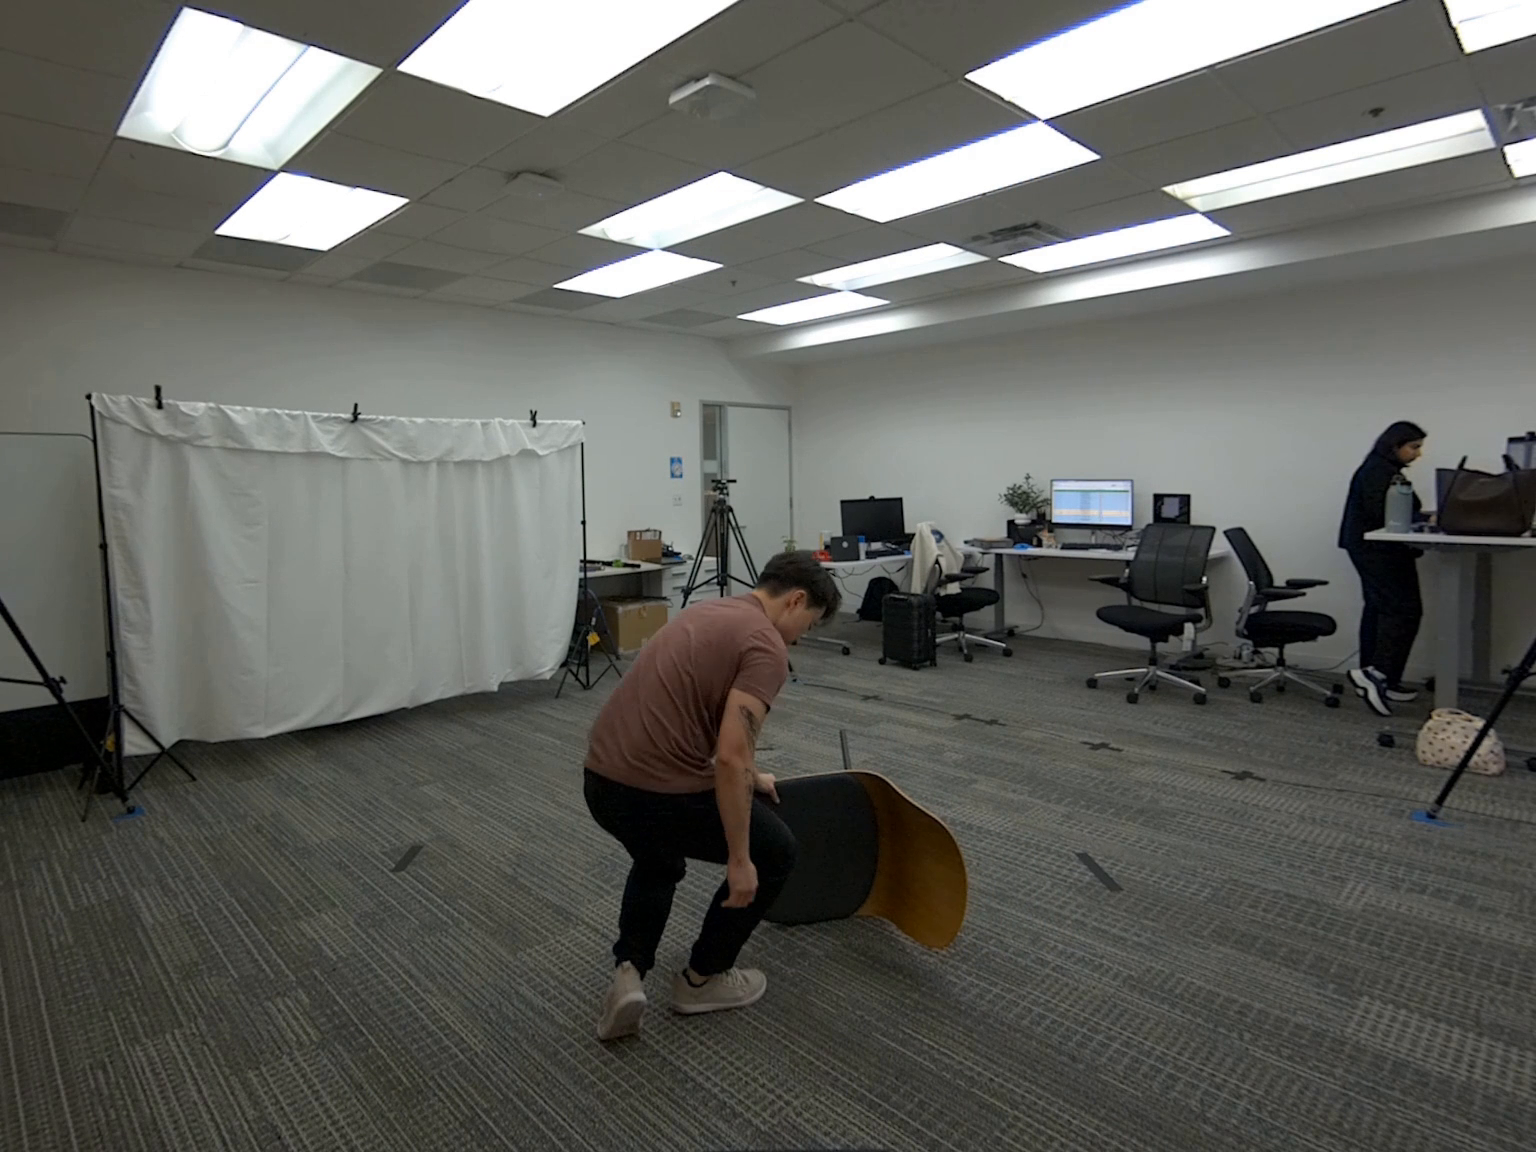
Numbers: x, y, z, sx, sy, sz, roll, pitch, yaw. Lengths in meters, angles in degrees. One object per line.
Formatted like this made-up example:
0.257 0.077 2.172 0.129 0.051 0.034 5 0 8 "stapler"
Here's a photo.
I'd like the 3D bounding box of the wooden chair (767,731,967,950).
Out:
0.171 0.853 2.742 0.515 0.476 0.895 -4 6 -18 "wooden chair"
